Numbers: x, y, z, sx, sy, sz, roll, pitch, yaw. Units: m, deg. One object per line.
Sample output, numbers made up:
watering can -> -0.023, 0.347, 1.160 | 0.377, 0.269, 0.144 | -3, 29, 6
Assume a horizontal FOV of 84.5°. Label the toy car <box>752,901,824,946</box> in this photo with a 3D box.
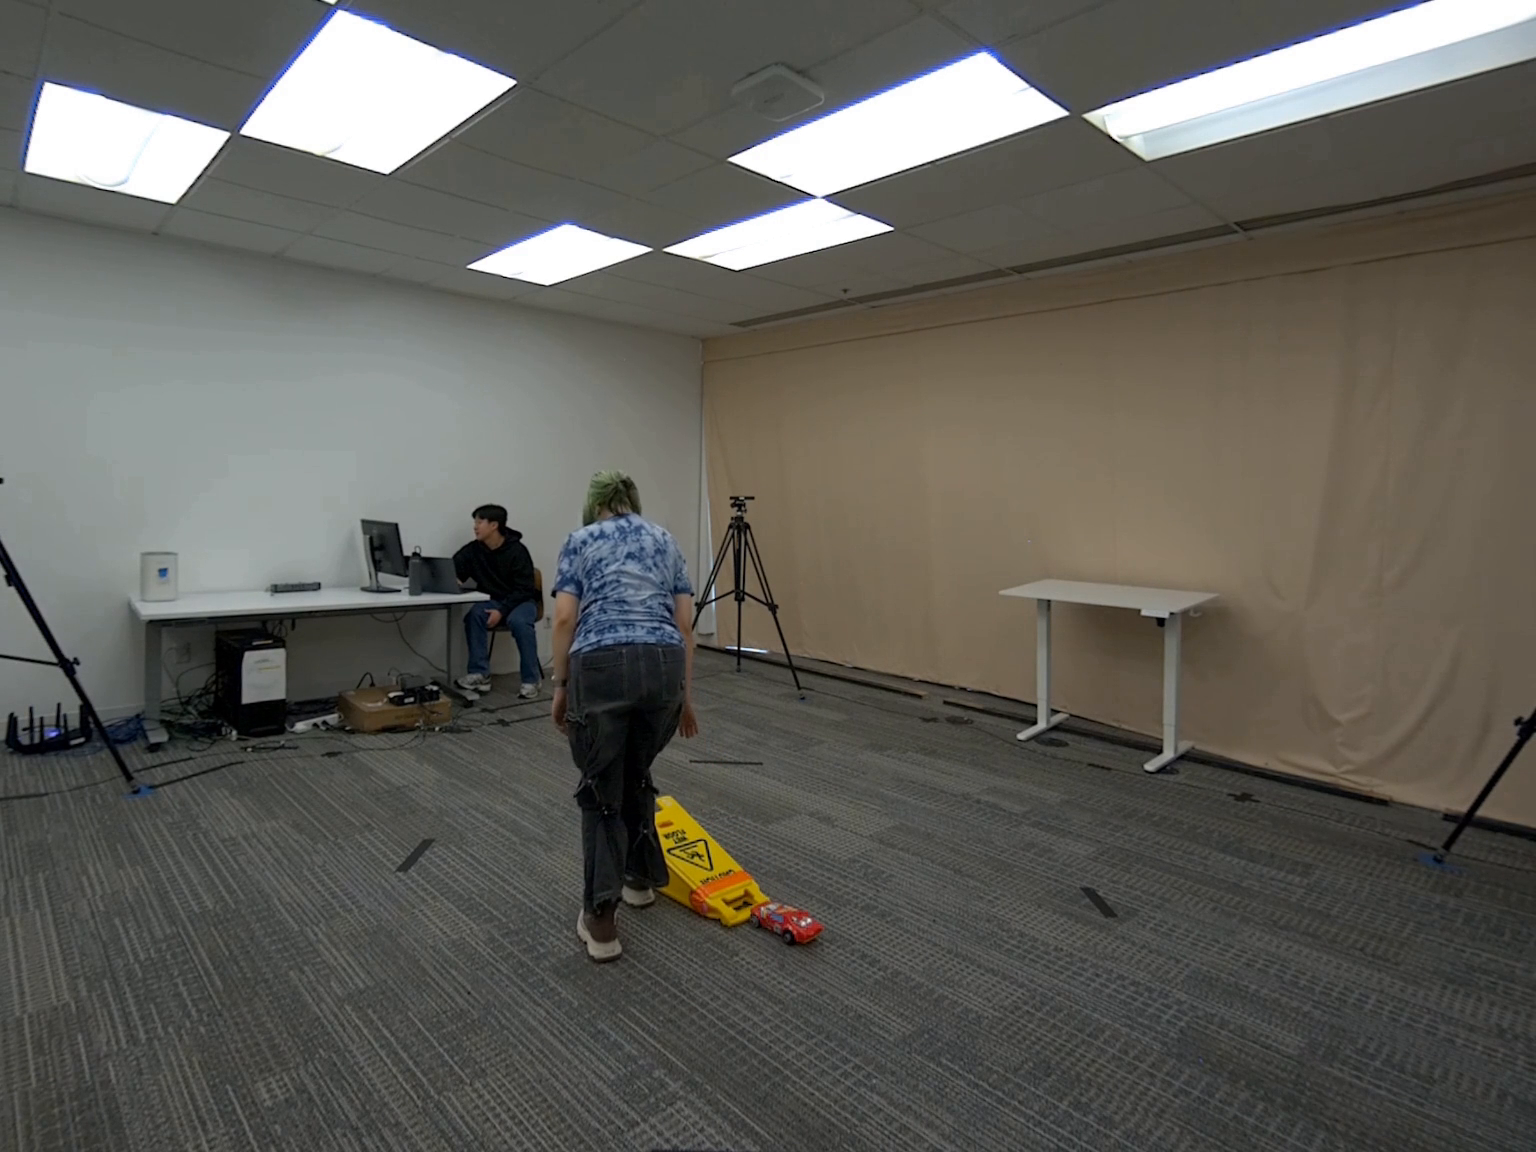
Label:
toy car -> 0.057, 1.112, 2.694 | 0.260, 0.083, 0.127 | -7, -3, 44
